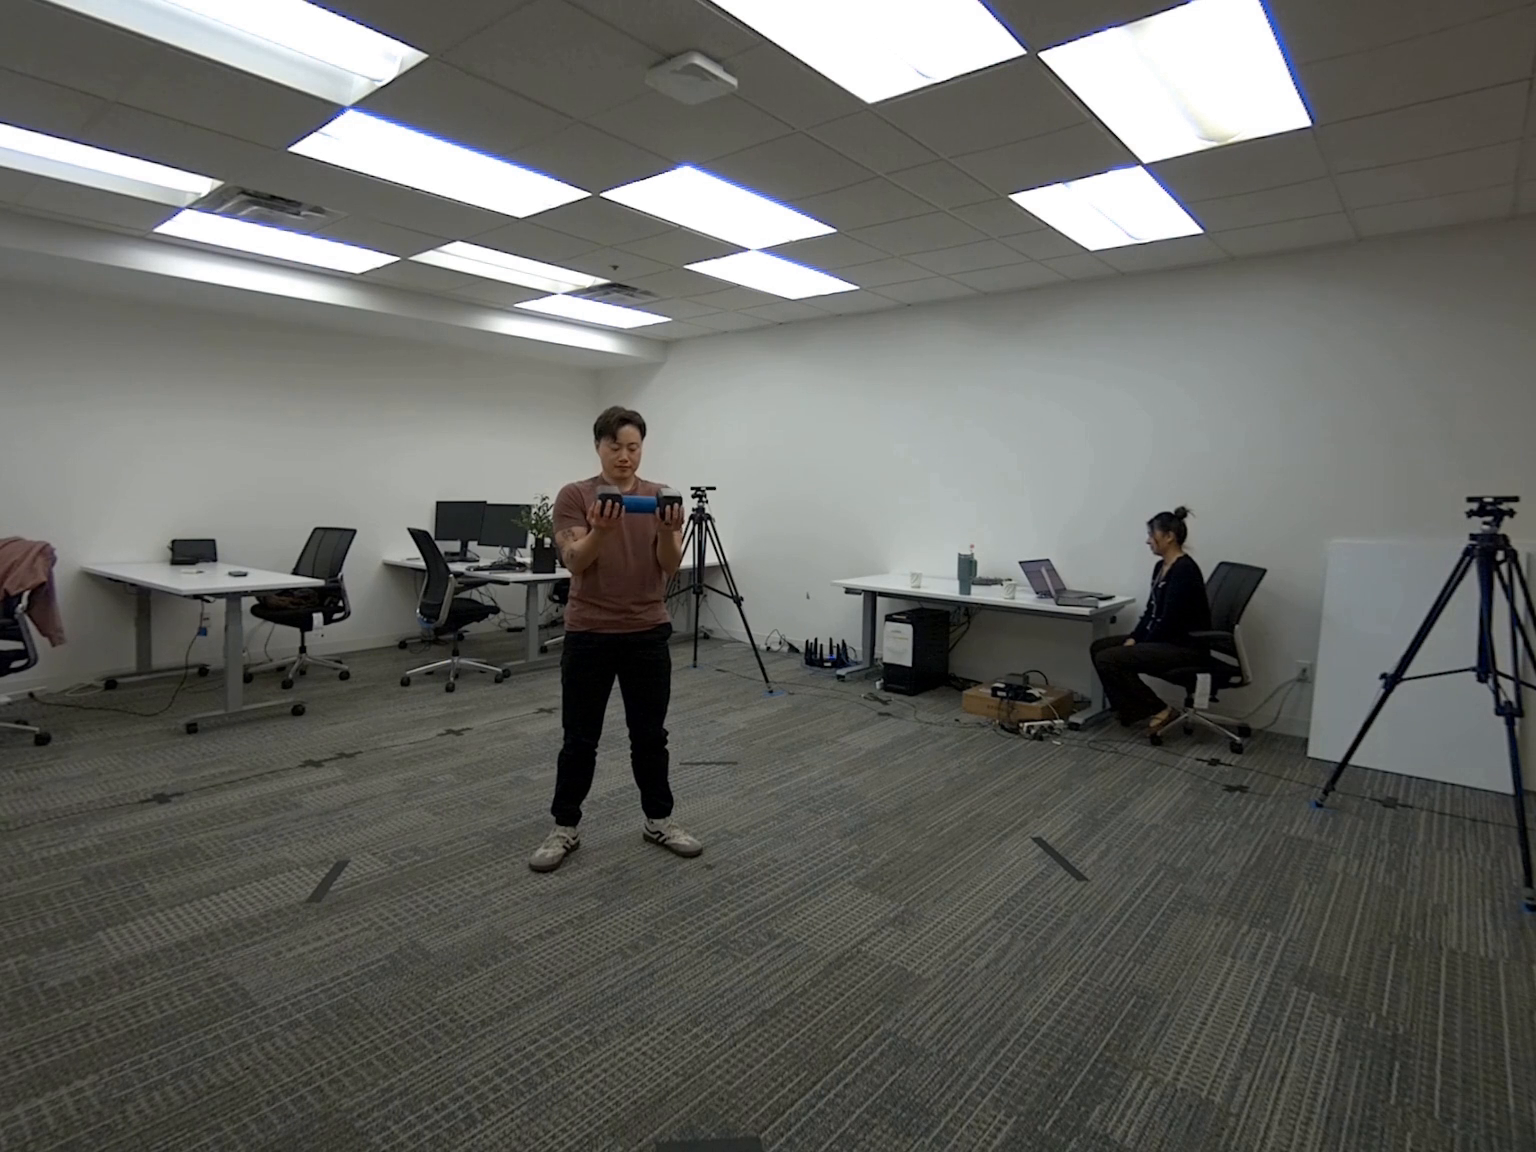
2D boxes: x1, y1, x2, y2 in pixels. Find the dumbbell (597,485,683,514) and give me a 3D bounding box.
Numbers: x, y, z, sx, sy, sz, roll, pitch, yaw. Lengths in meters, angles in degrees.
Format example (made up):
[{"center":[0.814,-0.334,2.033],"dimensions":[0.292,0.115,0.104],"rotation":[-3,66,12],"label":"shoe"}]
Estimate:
[{"center":[-0.456,-0.244,2.920],"dimensions":[0.289,0.112,0.121],"rotation":[1,-29,-15],"label":"dumbbell"}]
